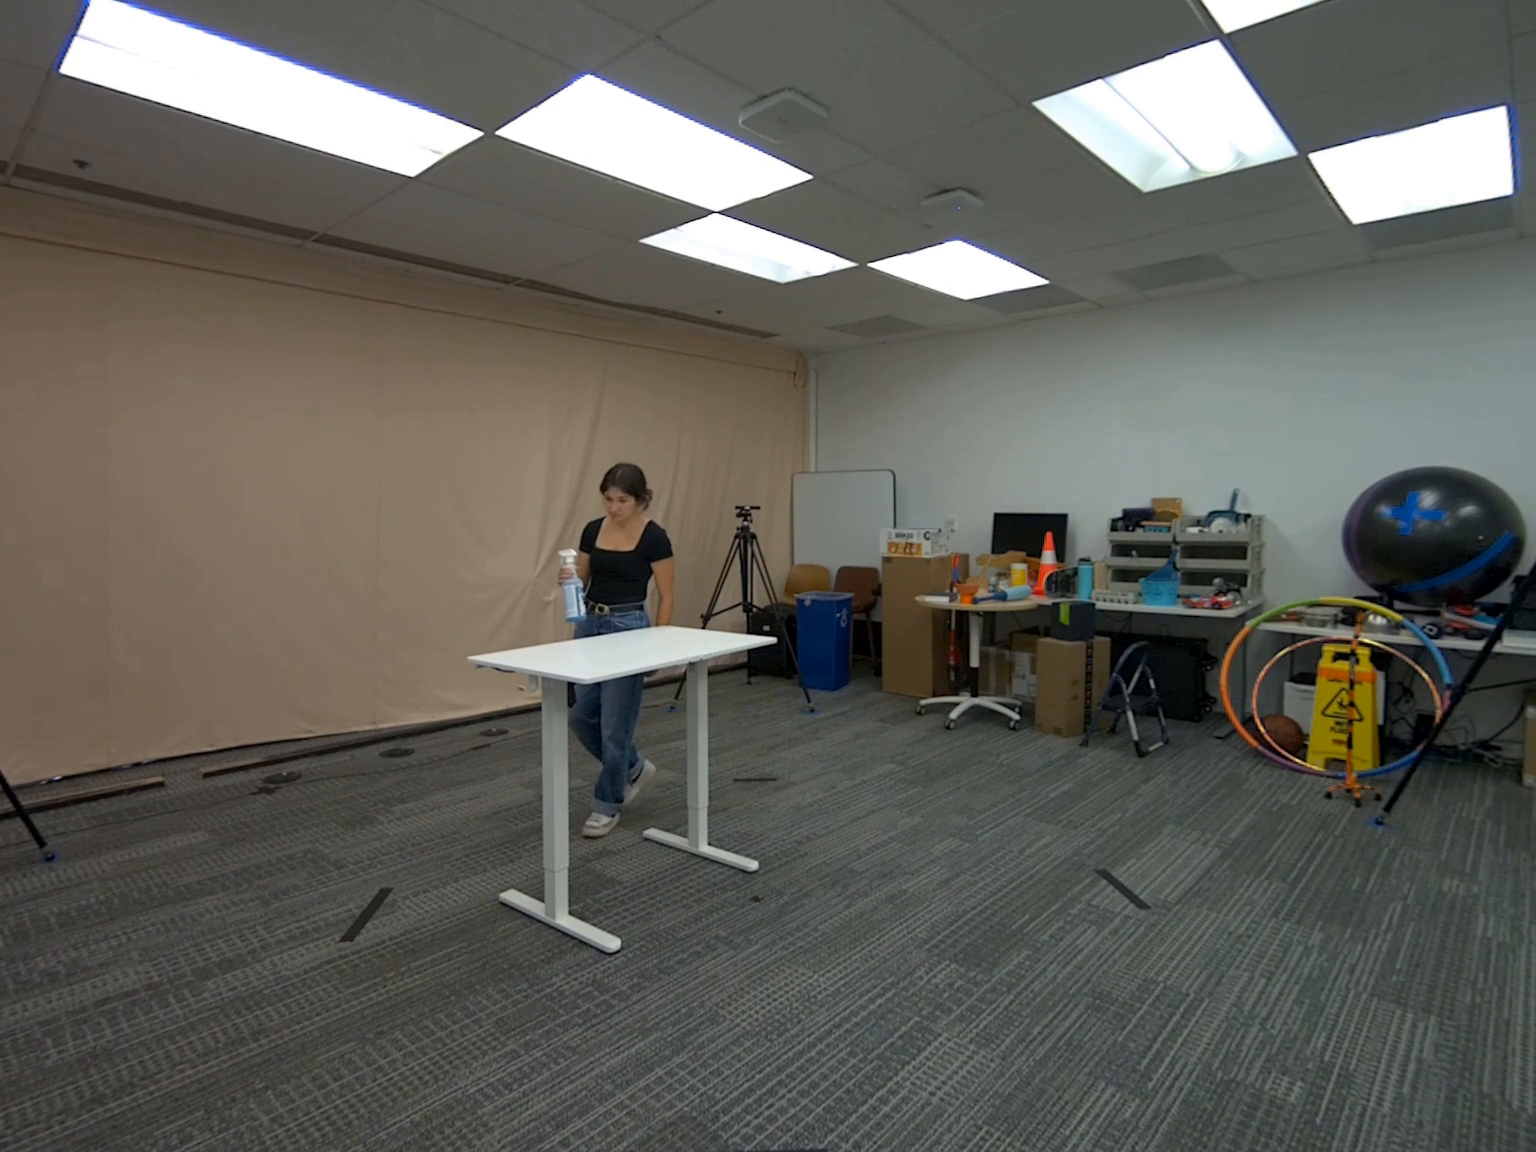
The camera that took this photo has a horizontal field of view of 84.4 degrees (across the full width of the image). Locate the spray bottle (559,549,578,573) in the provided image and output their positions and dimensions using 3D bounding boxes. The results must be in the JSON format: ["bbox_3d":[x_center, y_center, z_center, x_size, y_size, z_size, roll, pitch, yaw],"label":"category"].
[{"bbox_3d":[-0.794,0.034,3.422,0.084,0.299,0.092,-2,-9,-34],"label":"spray bottle"}]
